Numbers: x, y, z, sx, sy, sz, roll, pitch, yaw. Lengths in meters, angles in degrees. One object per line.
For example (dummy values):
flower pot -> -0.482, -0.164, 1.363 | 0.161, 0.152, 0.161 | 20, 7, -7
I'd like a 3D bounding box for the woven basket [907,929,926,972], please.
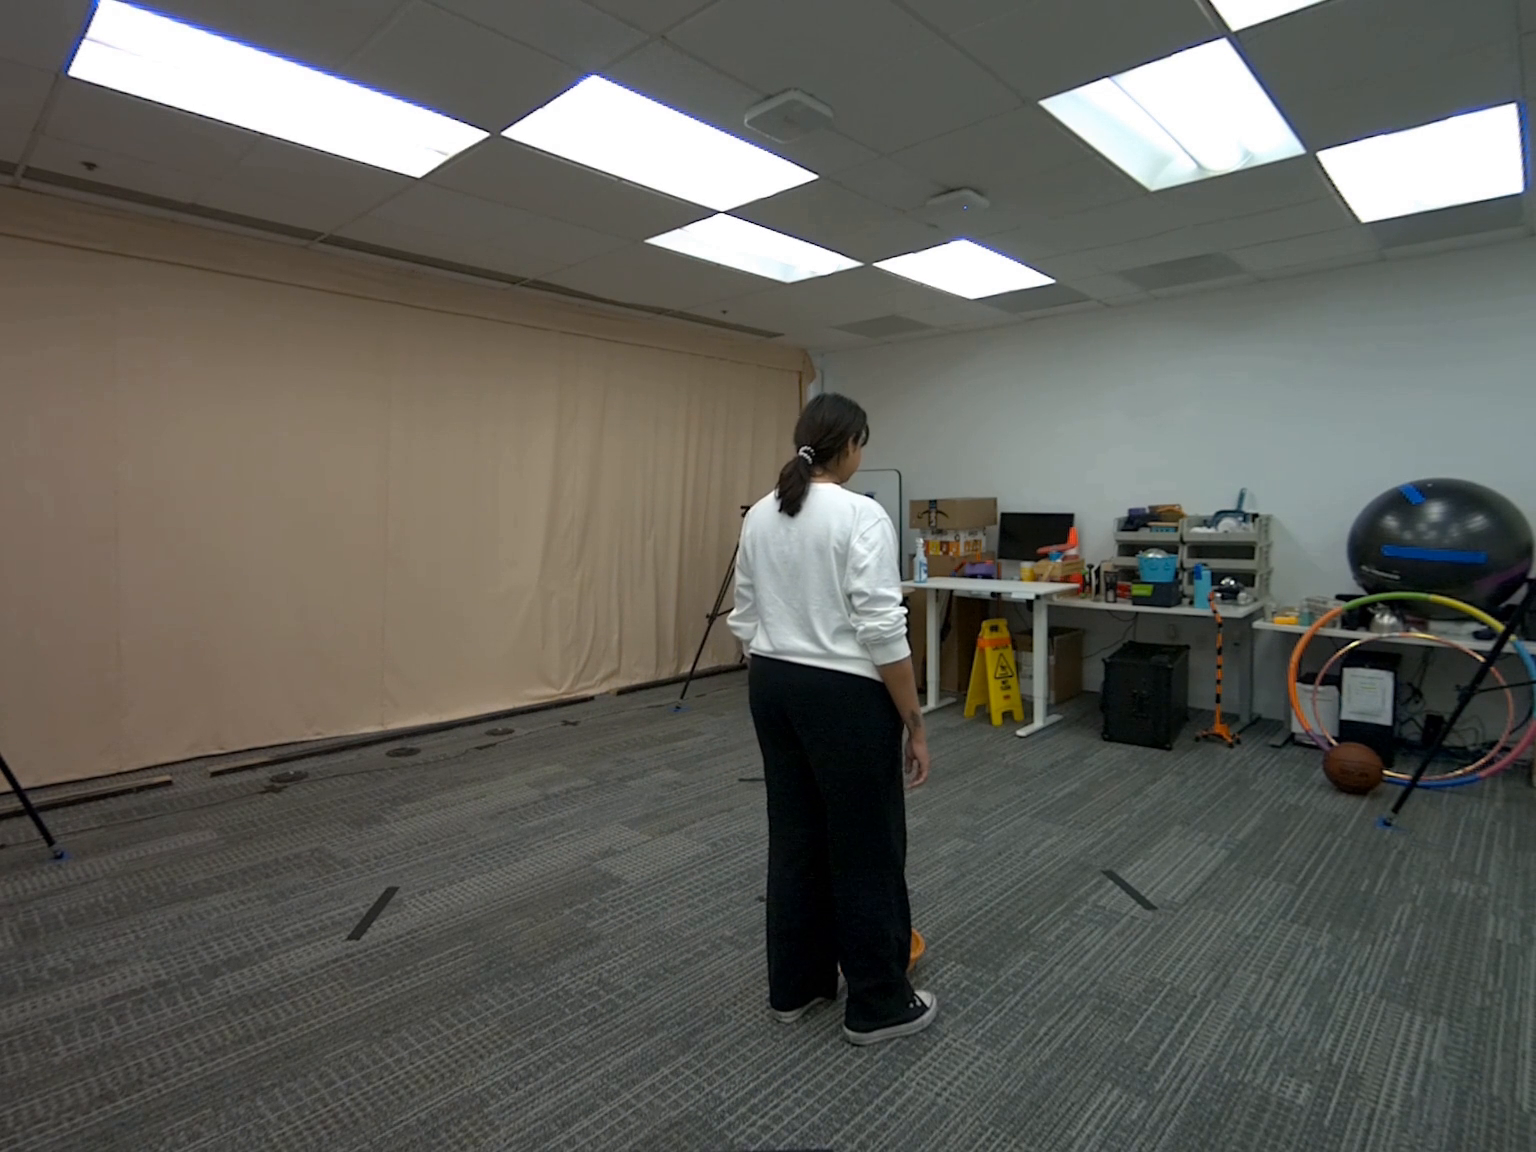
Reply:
woven basket -> 0.337, 1.135, 2.615 | 0.247, 0.073, 0.358 | -1, 5, -21
